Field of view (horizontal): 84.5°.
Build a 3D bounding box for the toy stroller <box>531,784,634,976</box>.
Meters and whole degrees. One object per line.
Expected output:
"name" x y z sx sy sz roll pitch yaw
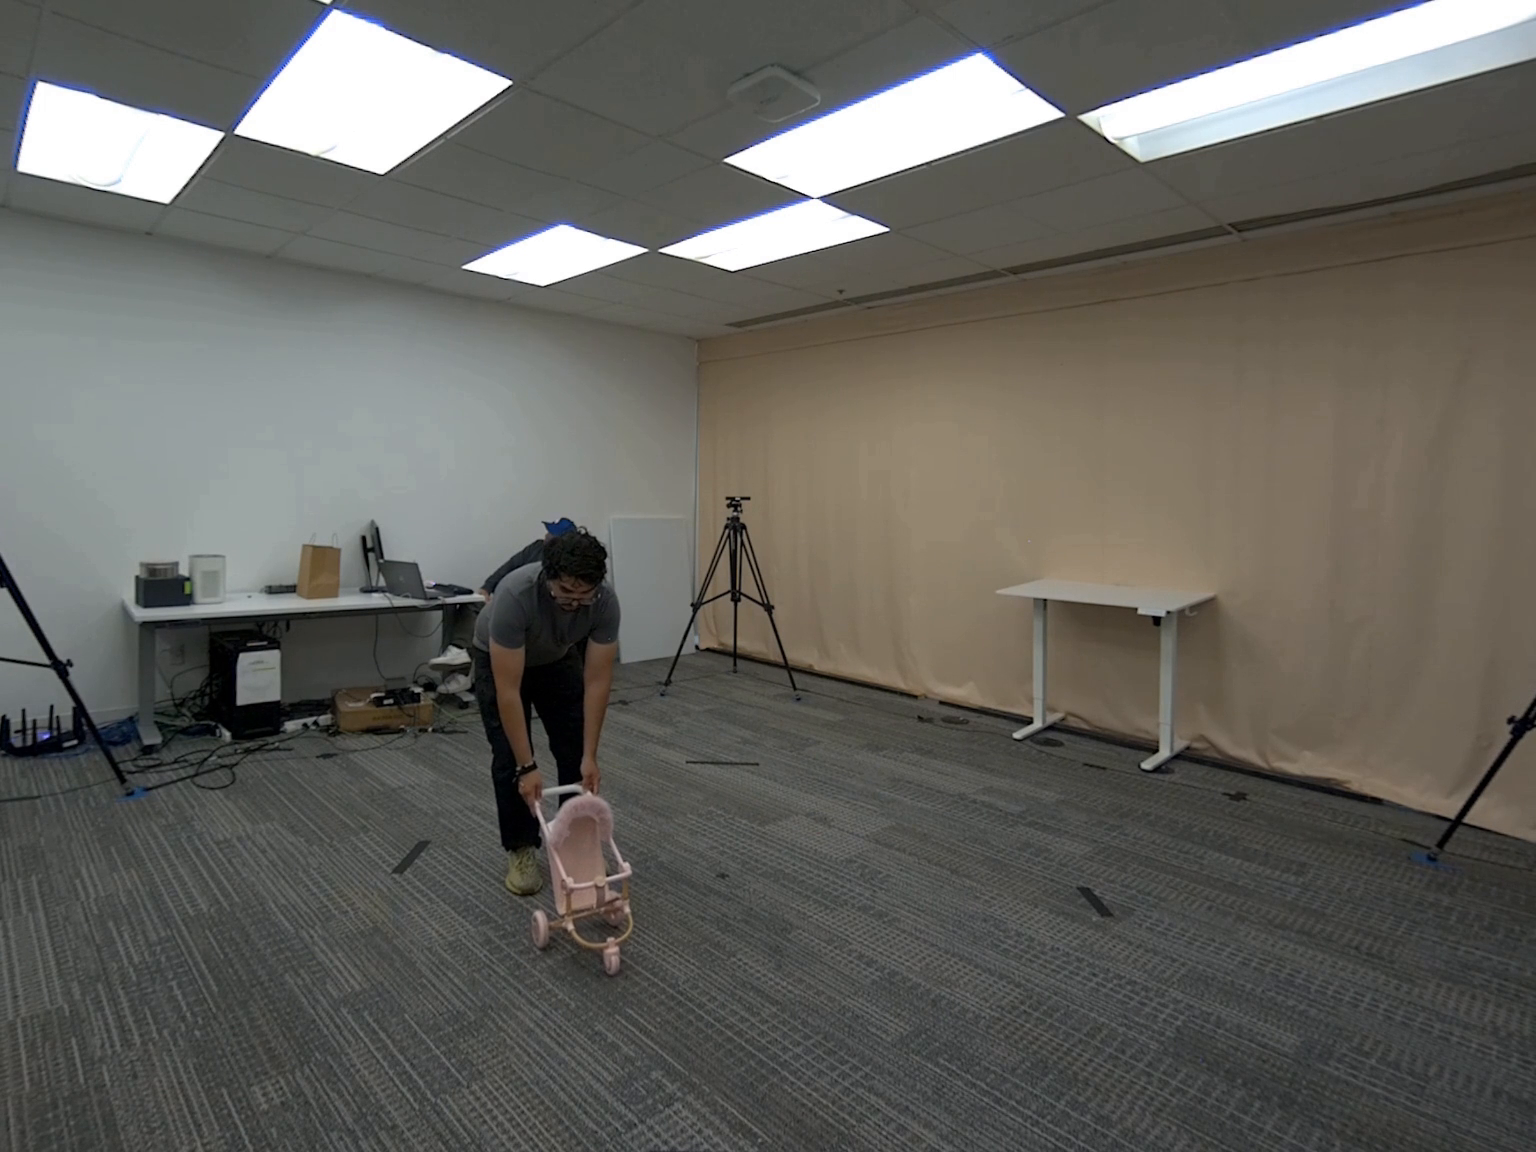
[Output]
"toy stroller" -0.570 0.921 2.598 0.275 0.540 0.345 -1 -12 -32
